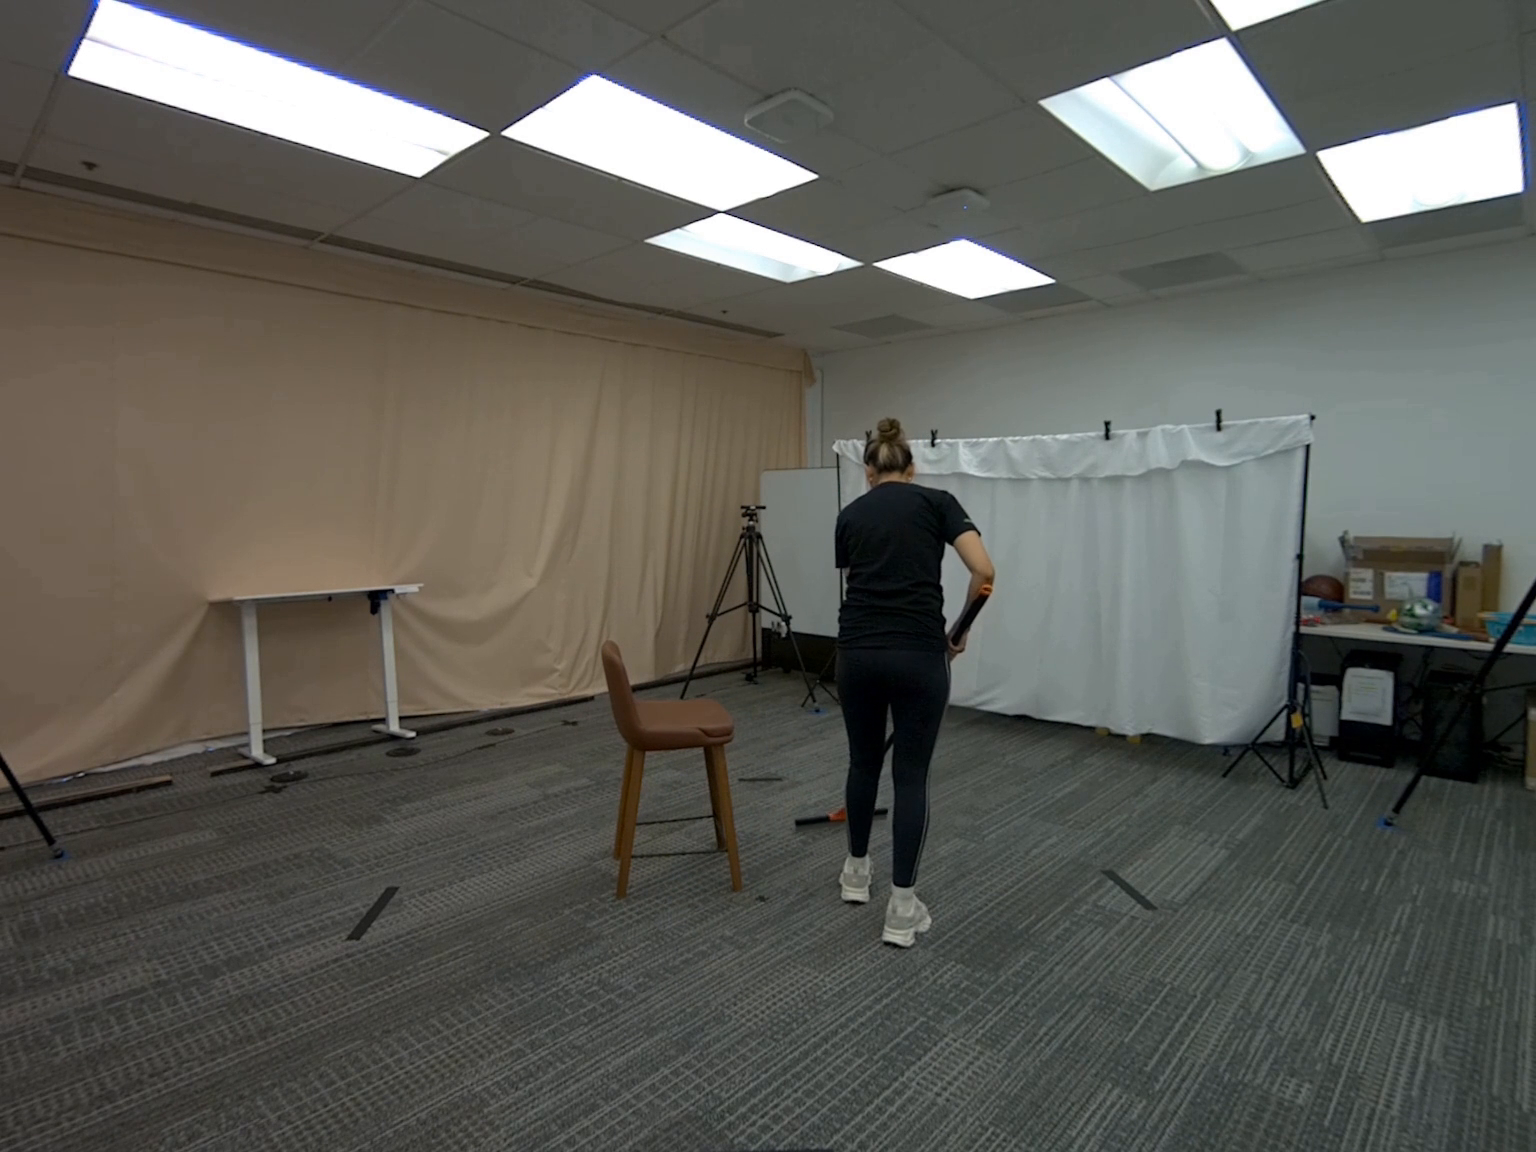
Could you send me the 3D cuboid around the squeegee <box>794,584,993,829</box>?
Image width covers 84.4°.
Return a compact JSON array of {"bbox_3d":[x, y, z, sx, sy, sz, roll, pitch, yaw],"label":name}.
[{"bbox_3d":[0.520,0.529,3.123,0.428,0.054,1.528,0,-42,-22],"label":"squeegee"}]
